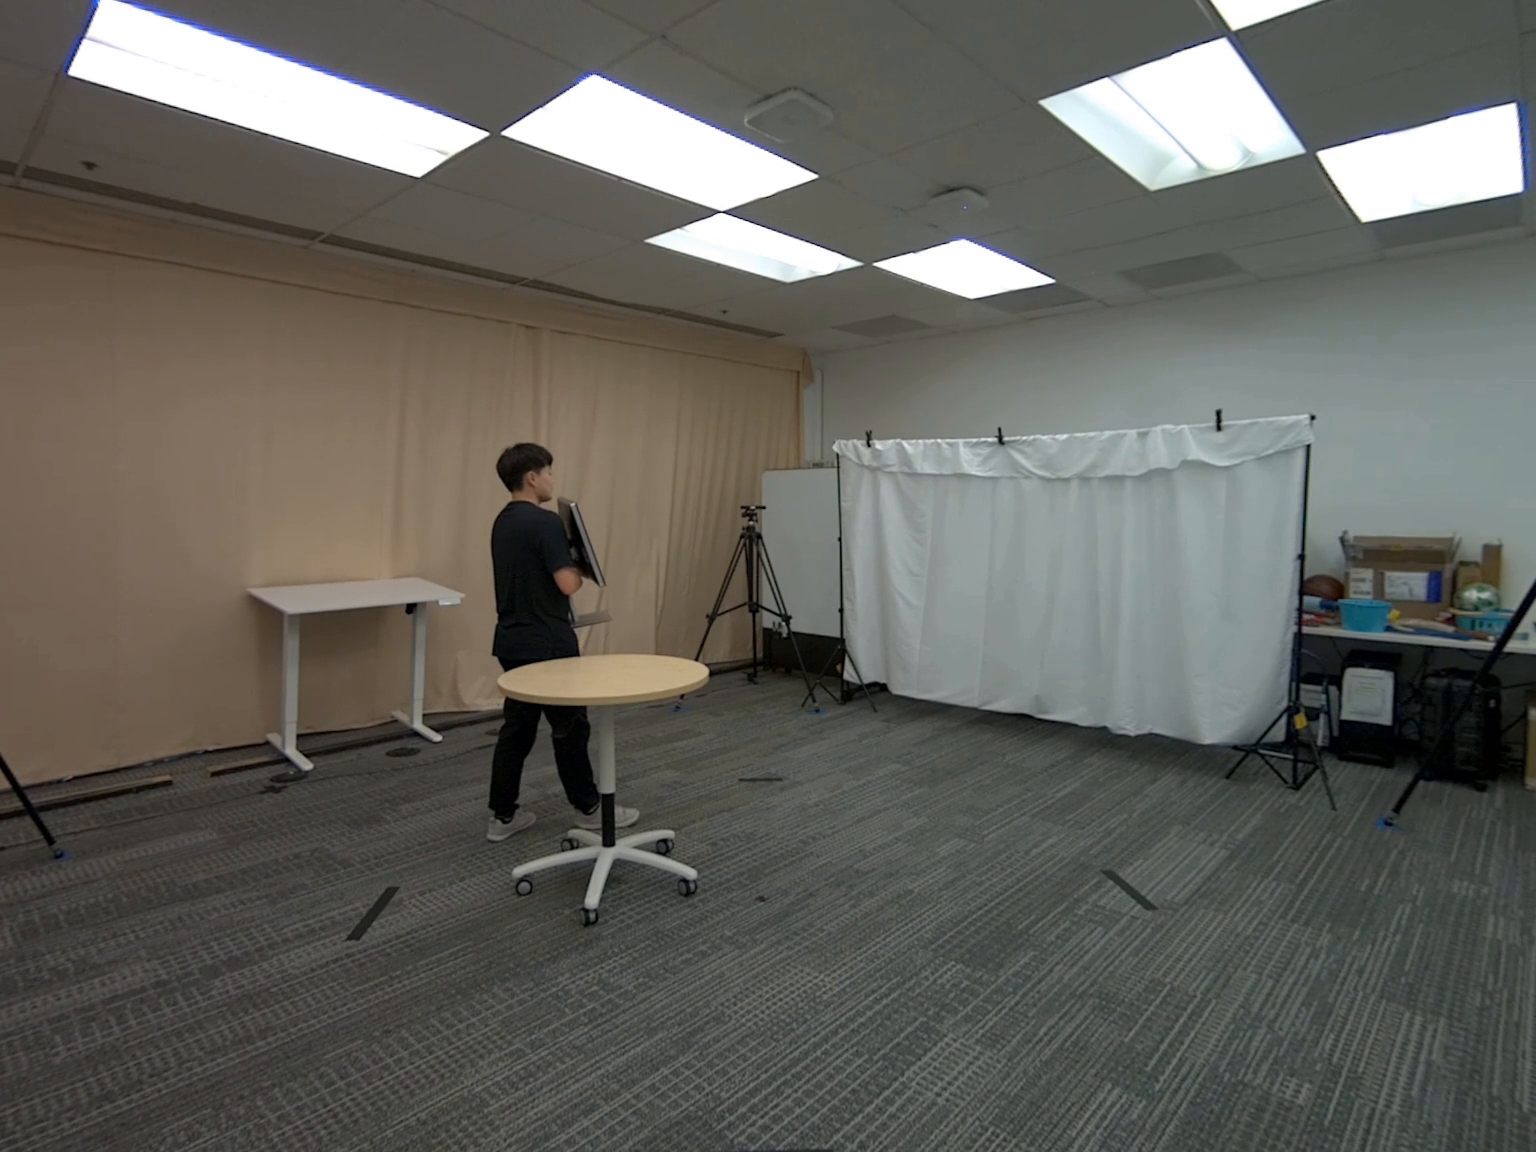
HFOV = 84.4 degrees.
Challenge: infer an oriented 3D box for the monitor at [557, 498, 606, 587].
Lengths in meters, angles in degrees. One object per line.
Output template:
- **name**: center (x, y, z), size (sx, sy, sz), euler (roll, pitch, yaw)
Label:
- **monitor**: center (-0.827, -0.068, 3.670), size (0.184, 0.519, 0.552), euler (-10, 10, -20)
